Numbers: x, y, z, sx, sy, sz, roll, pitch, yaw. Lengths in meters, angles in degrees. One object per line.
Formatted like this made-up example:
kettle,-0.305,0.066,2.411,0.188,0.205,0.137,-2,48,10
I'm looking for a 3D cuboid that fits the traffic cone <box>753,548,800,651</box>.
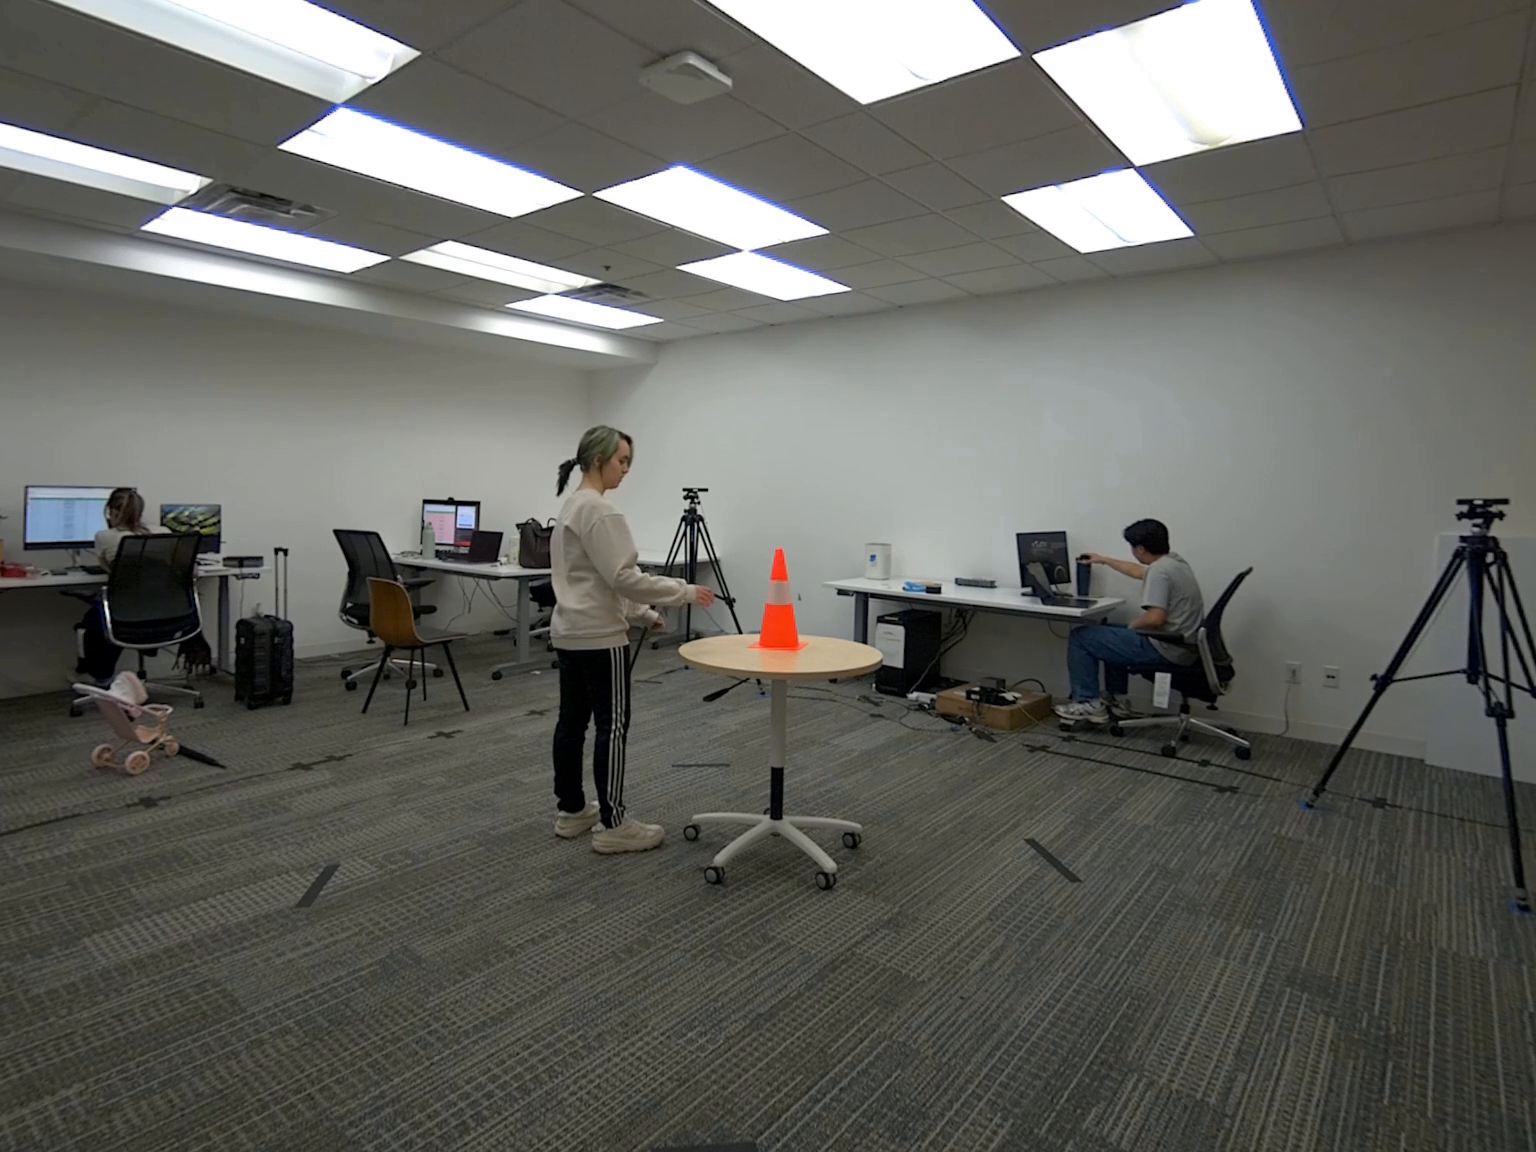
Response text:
traffic cone,0.038,0.085,3.317,0.210,0.382,0.199,3,5,23
